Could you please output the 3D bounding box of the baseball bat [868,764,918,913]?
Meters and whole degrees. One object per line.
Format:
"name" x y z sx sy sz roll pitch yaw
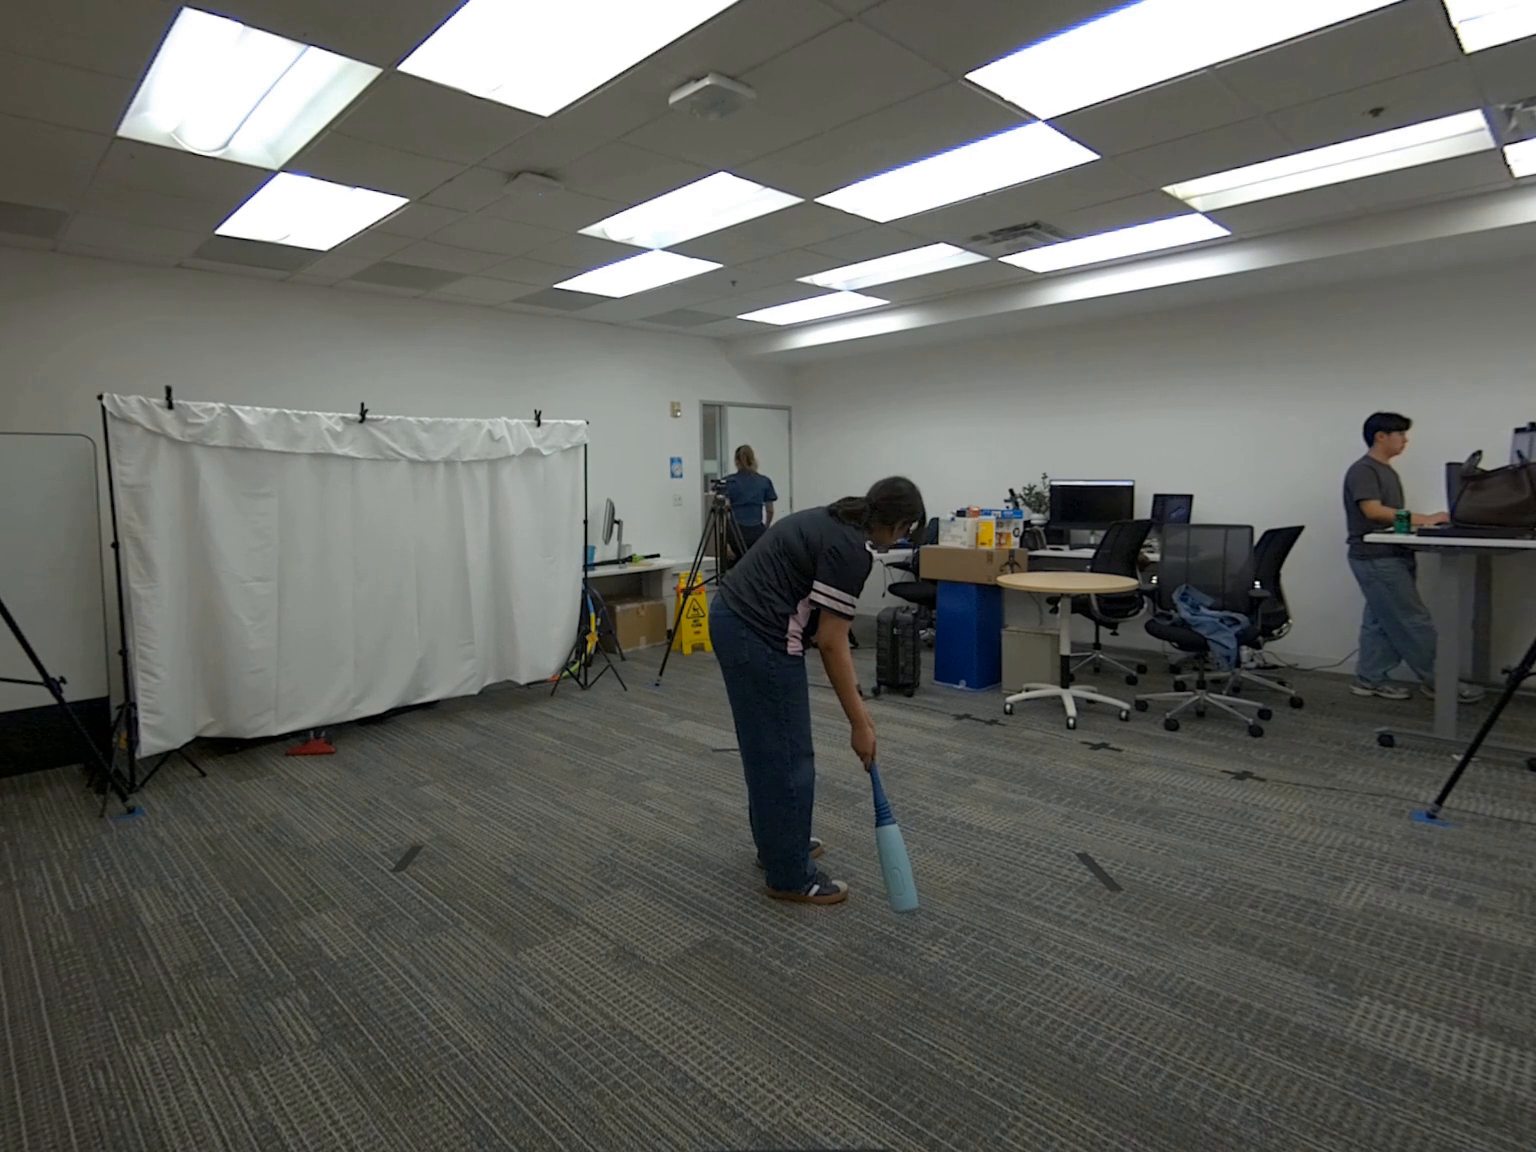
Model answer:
"baseball bat" 0.373 0.765 2.665 0.089 0.554 0.087 -10 -20 -5
